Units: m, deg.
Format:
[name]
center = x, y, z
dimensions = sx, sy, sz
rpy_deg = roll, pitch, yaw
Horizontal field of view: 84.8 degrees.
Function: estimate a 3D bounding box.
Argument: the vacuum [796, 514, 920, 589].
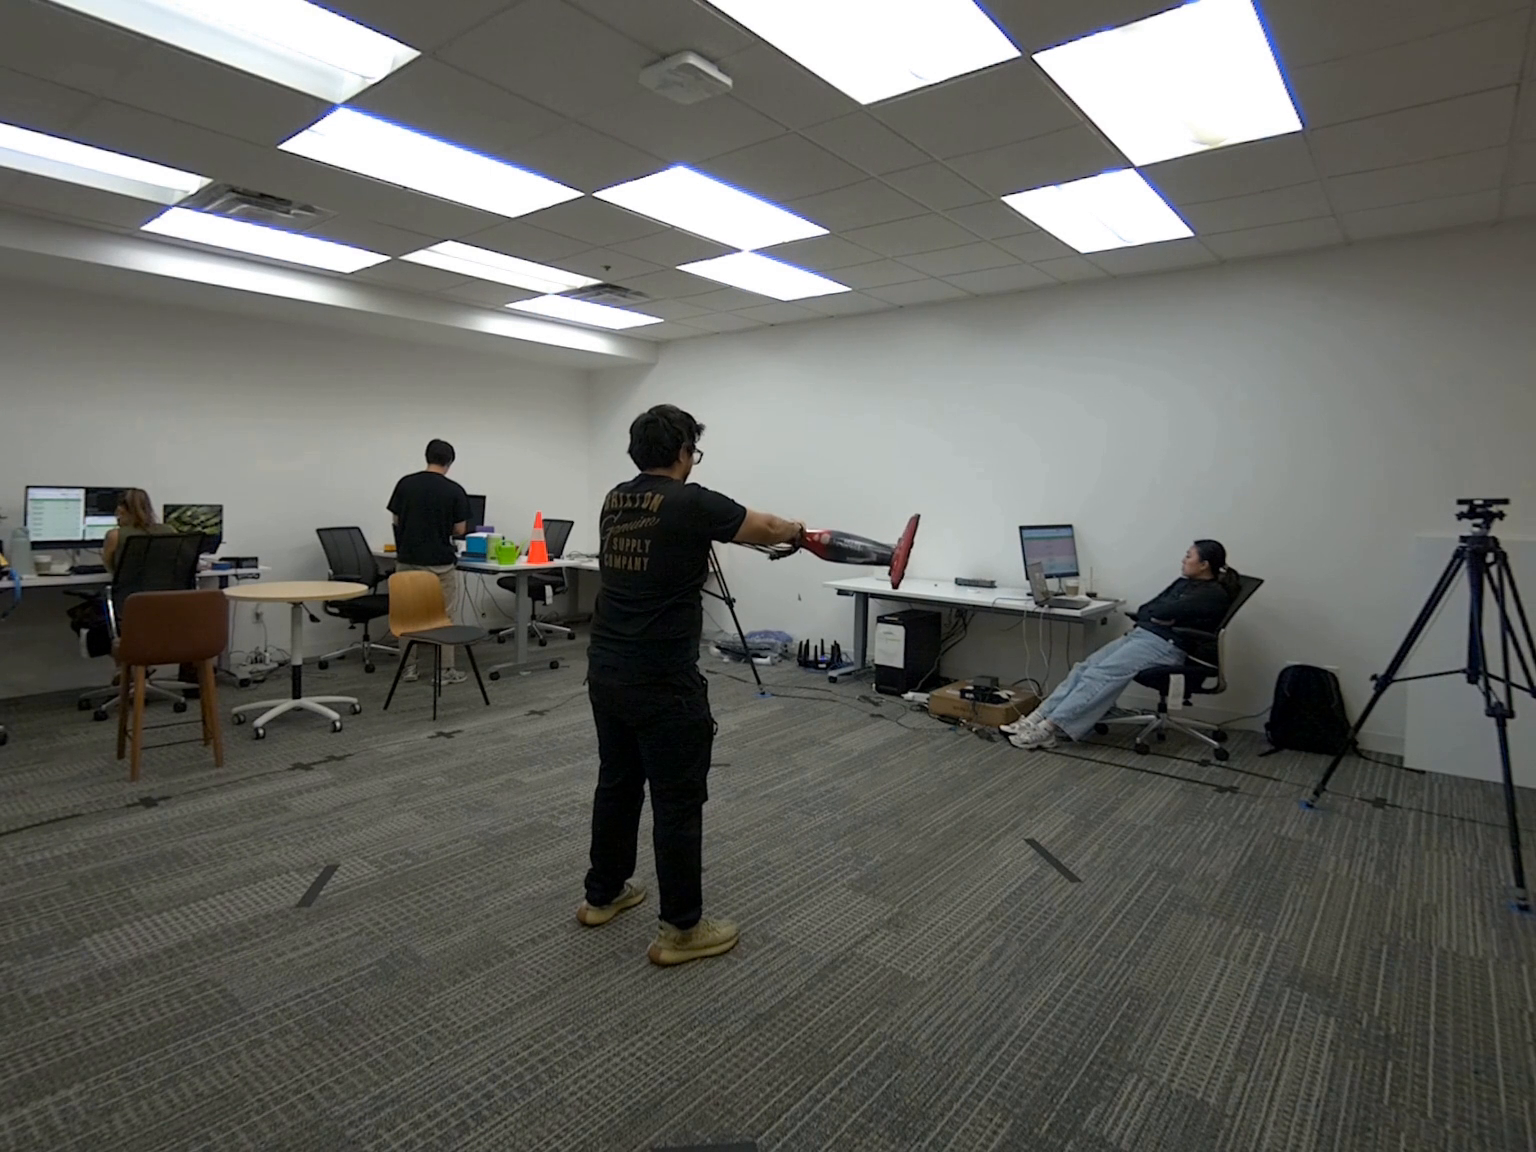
[vacuum]
center = 0.017, -0.138, 3.059
dimensions = 1.086, 0.254, 0.138
rpy_deg = 10, -17, 36
